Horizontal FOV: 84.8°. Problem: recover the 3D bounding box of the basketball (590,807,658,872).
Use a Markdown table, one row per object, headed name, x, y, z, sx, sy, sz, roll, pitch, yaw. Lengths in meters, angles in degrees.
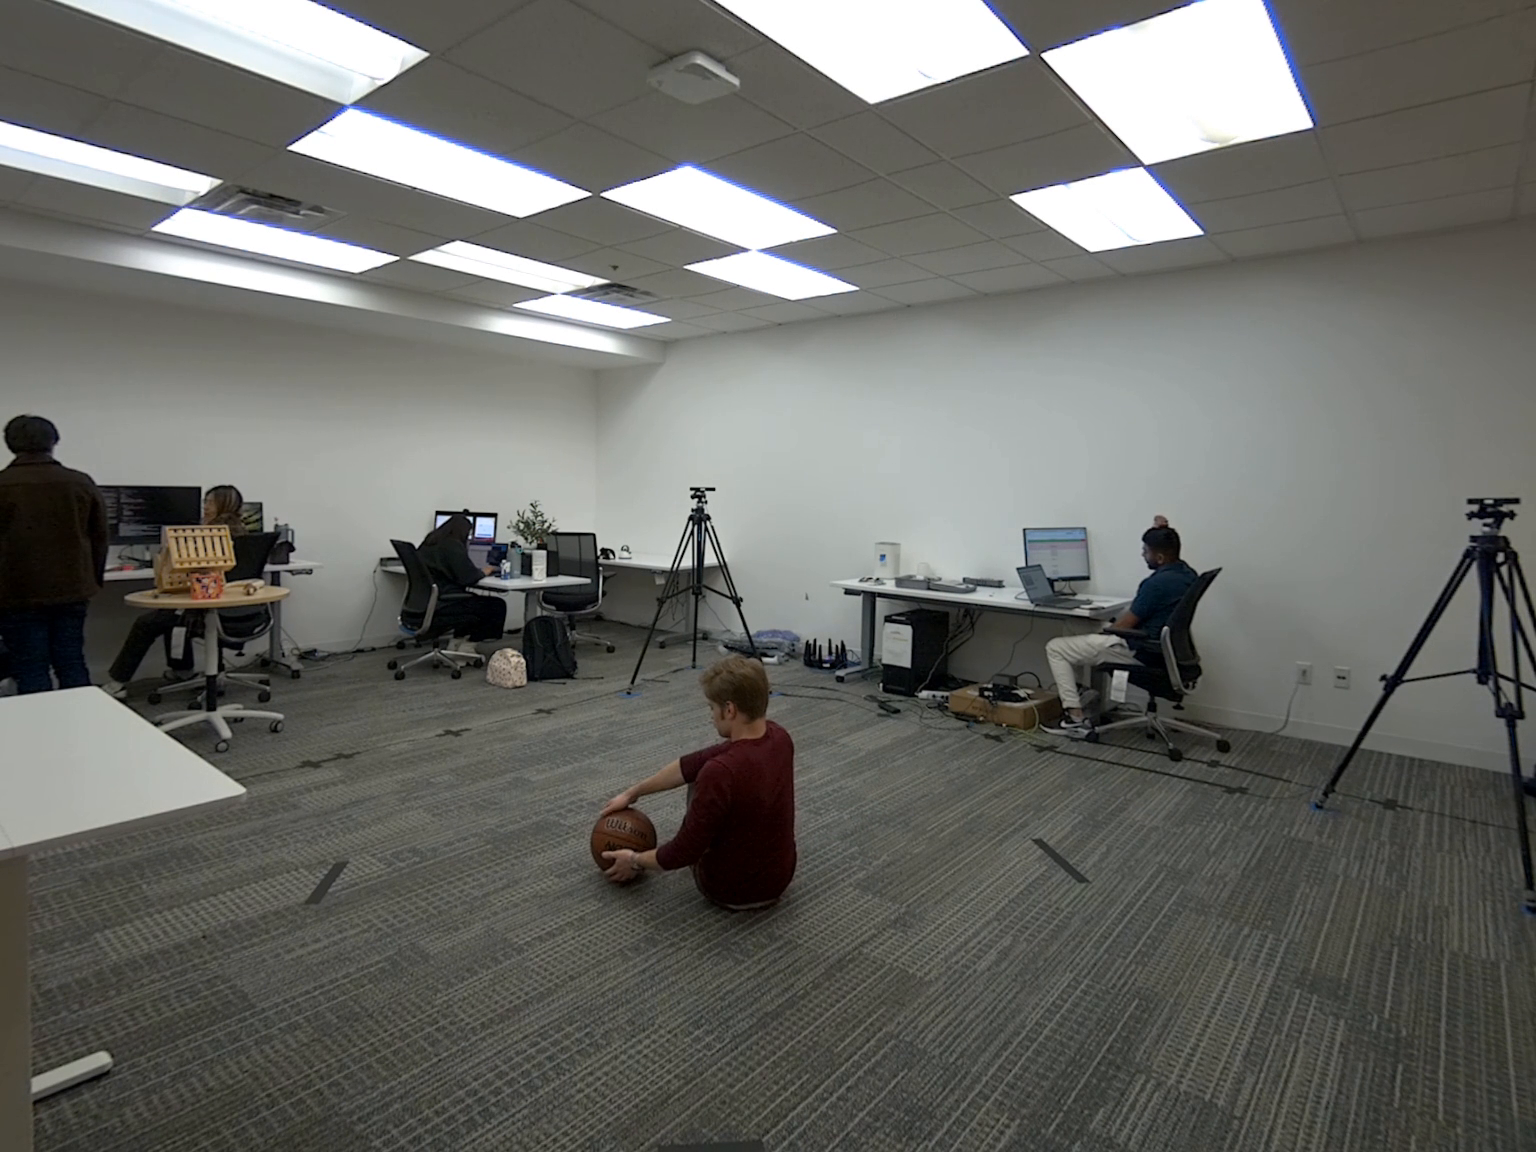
| name | x | y | z | sx | sy | sz | roll | pitch | yaw |
| --- | --- | --- | --- | --- | --- | --- | --- | --- | --- |
| basketball | -0.522 | 0.950 | 3.042 | 0.235 | 0.235 | 0.237 | 1 | 4 | -2 |
